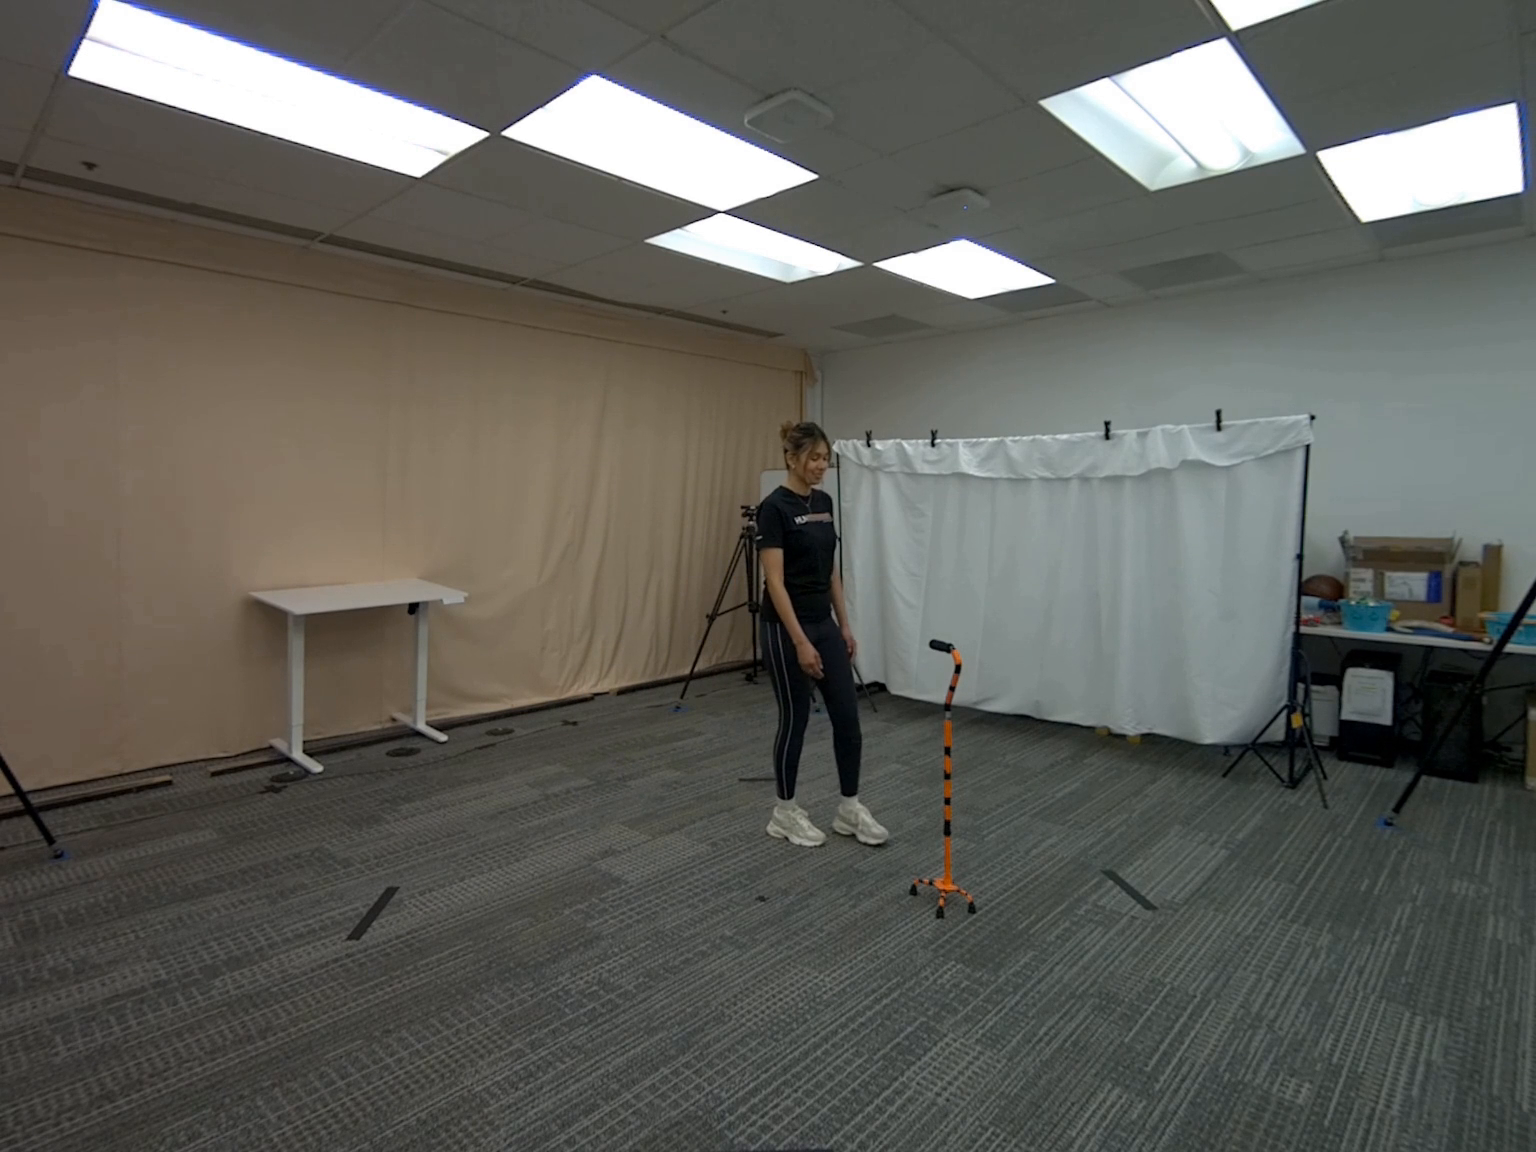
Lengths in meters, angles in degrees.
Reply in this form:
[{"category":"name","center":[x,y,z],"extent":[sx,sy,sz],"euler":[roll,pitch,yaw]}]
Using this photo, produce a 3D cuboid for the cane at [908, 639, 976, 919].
[{"category":"cane","center":[0.616,0.692,2.928],"extent":[0.149,0.906,0.210],"euler":[0,3,-18]}]
